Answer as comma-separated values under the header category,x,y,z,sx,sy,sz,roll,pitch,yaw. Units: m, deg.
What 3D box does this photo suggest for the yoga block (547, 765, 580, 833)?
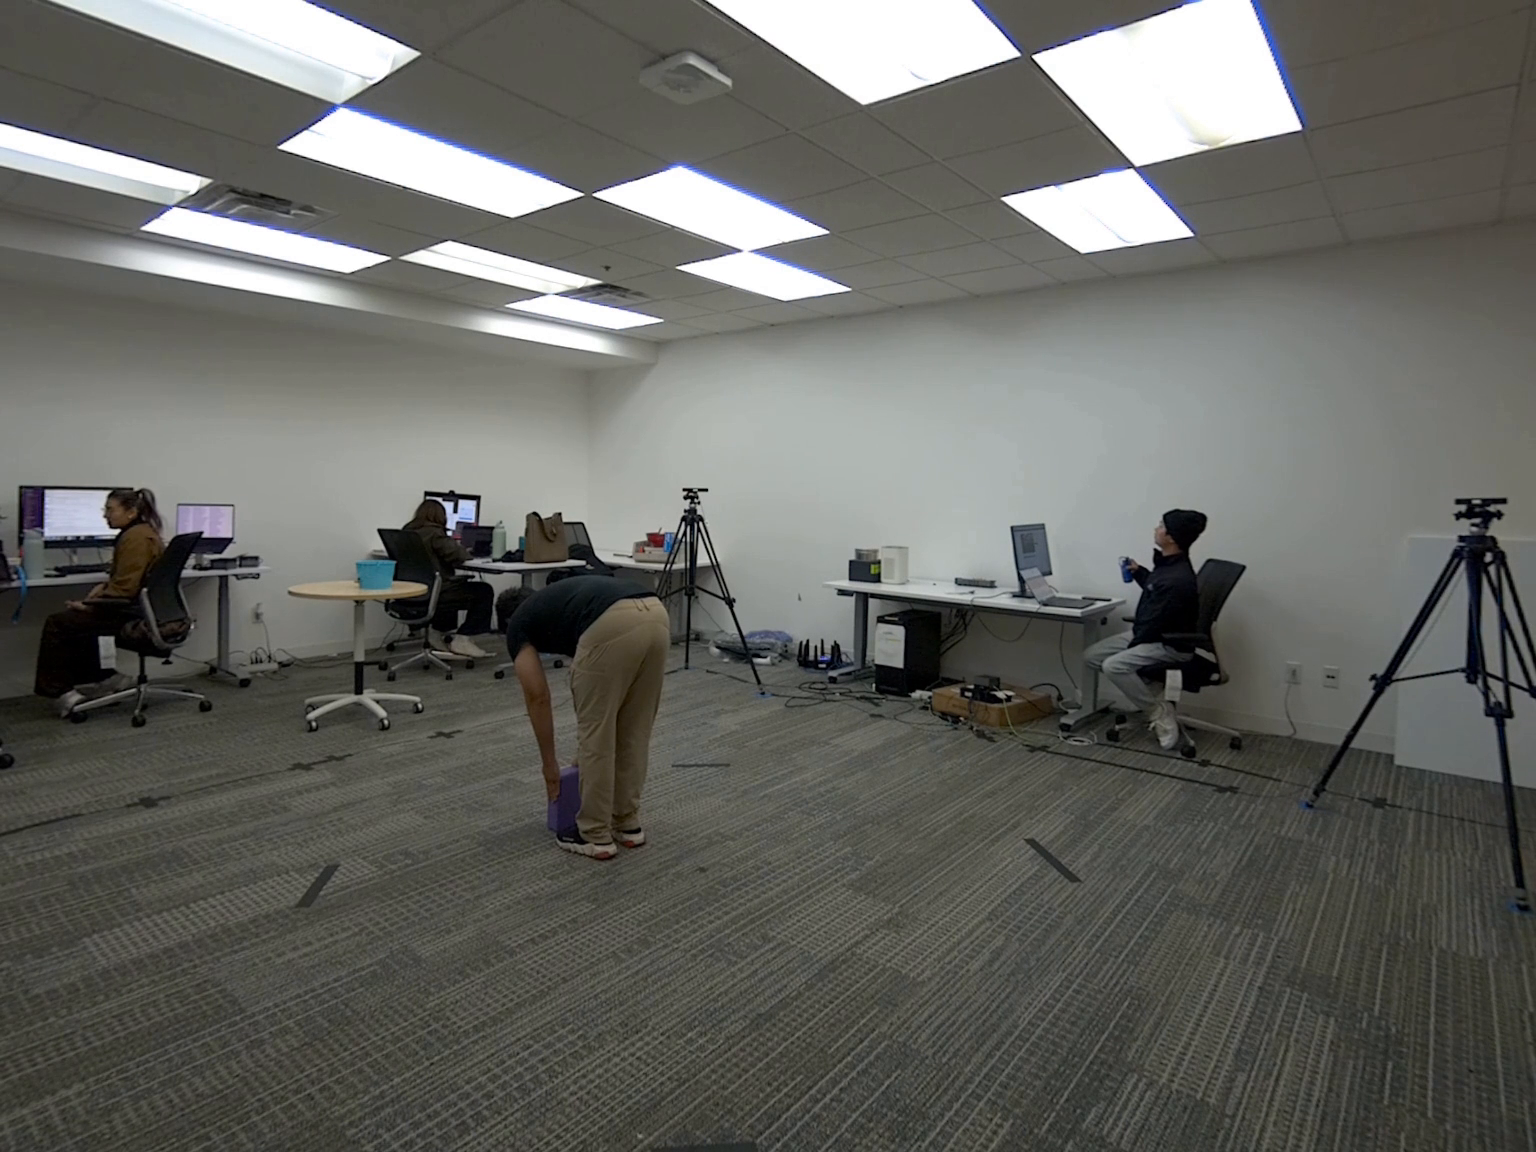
category,x,y,z,sx,sy,sz,roll,pitch,yaw
yoga block,-0.842,0.910,3.486,0.079,0.229,0.144,3,4,40
